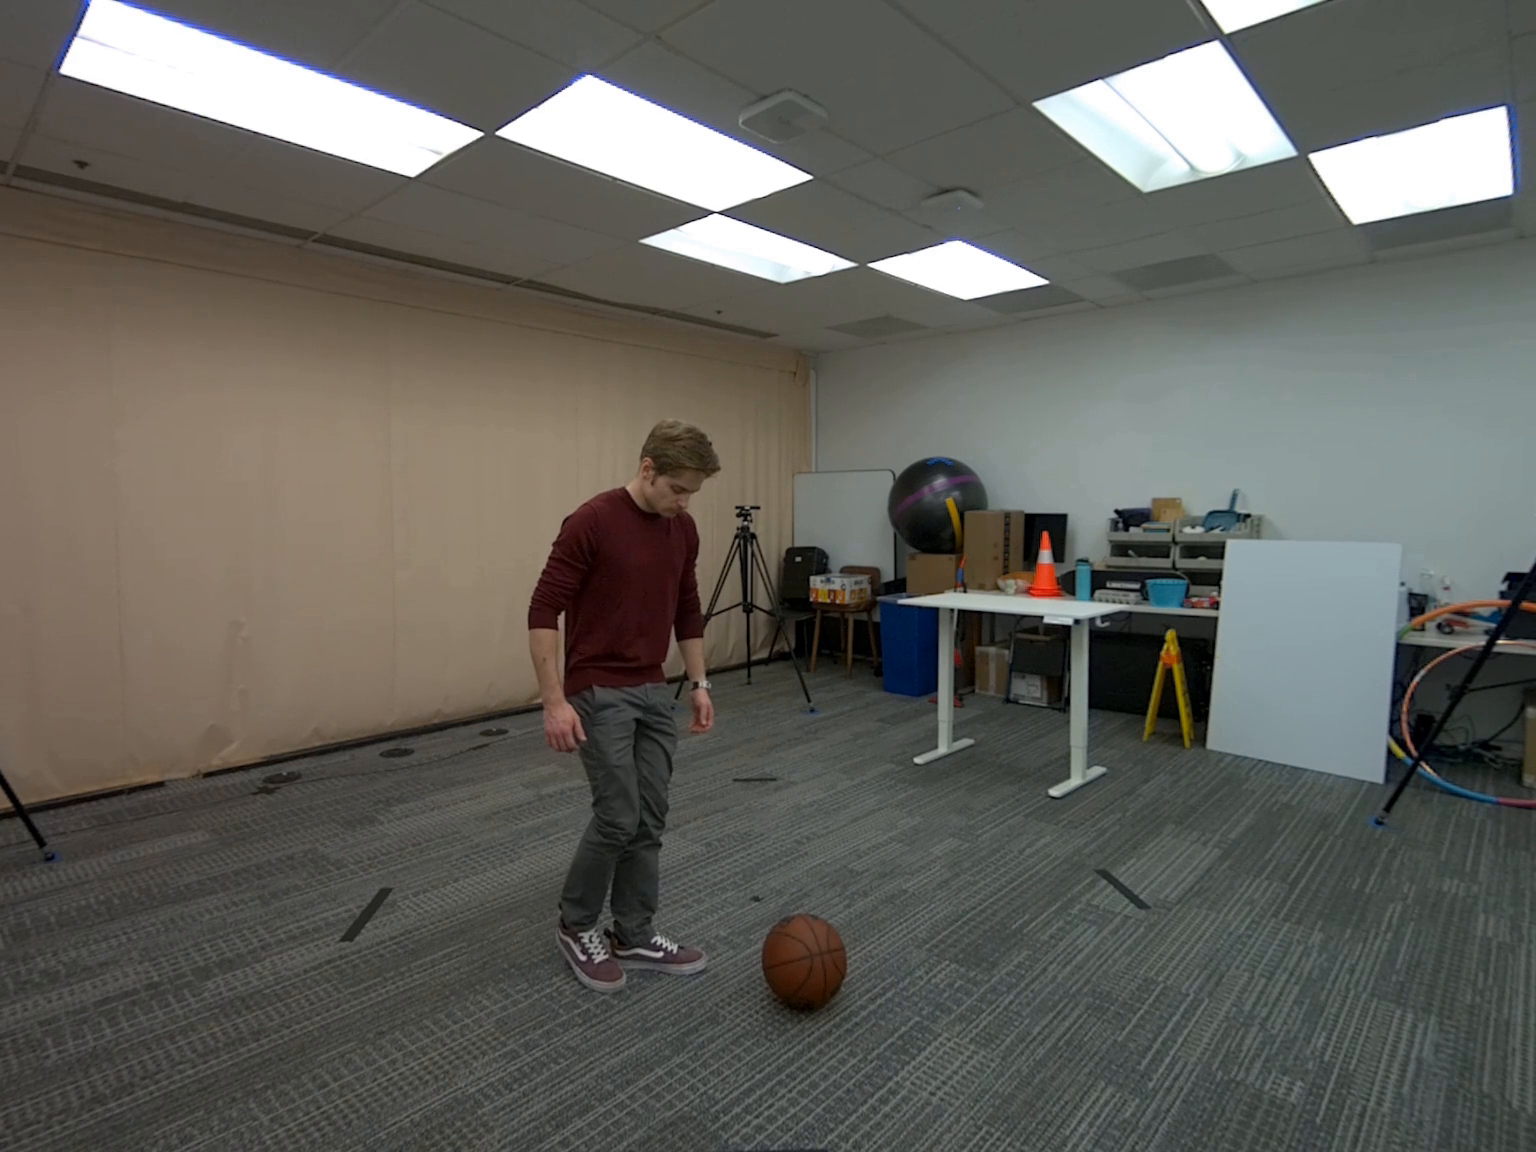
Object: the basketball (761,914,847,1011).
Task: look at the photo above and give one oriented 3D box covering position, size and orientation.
[{"bbox_3d":[0.105,1.081,2.348,0.236,0.235,0.237,0,4,-2],"label":"basketball"}]
